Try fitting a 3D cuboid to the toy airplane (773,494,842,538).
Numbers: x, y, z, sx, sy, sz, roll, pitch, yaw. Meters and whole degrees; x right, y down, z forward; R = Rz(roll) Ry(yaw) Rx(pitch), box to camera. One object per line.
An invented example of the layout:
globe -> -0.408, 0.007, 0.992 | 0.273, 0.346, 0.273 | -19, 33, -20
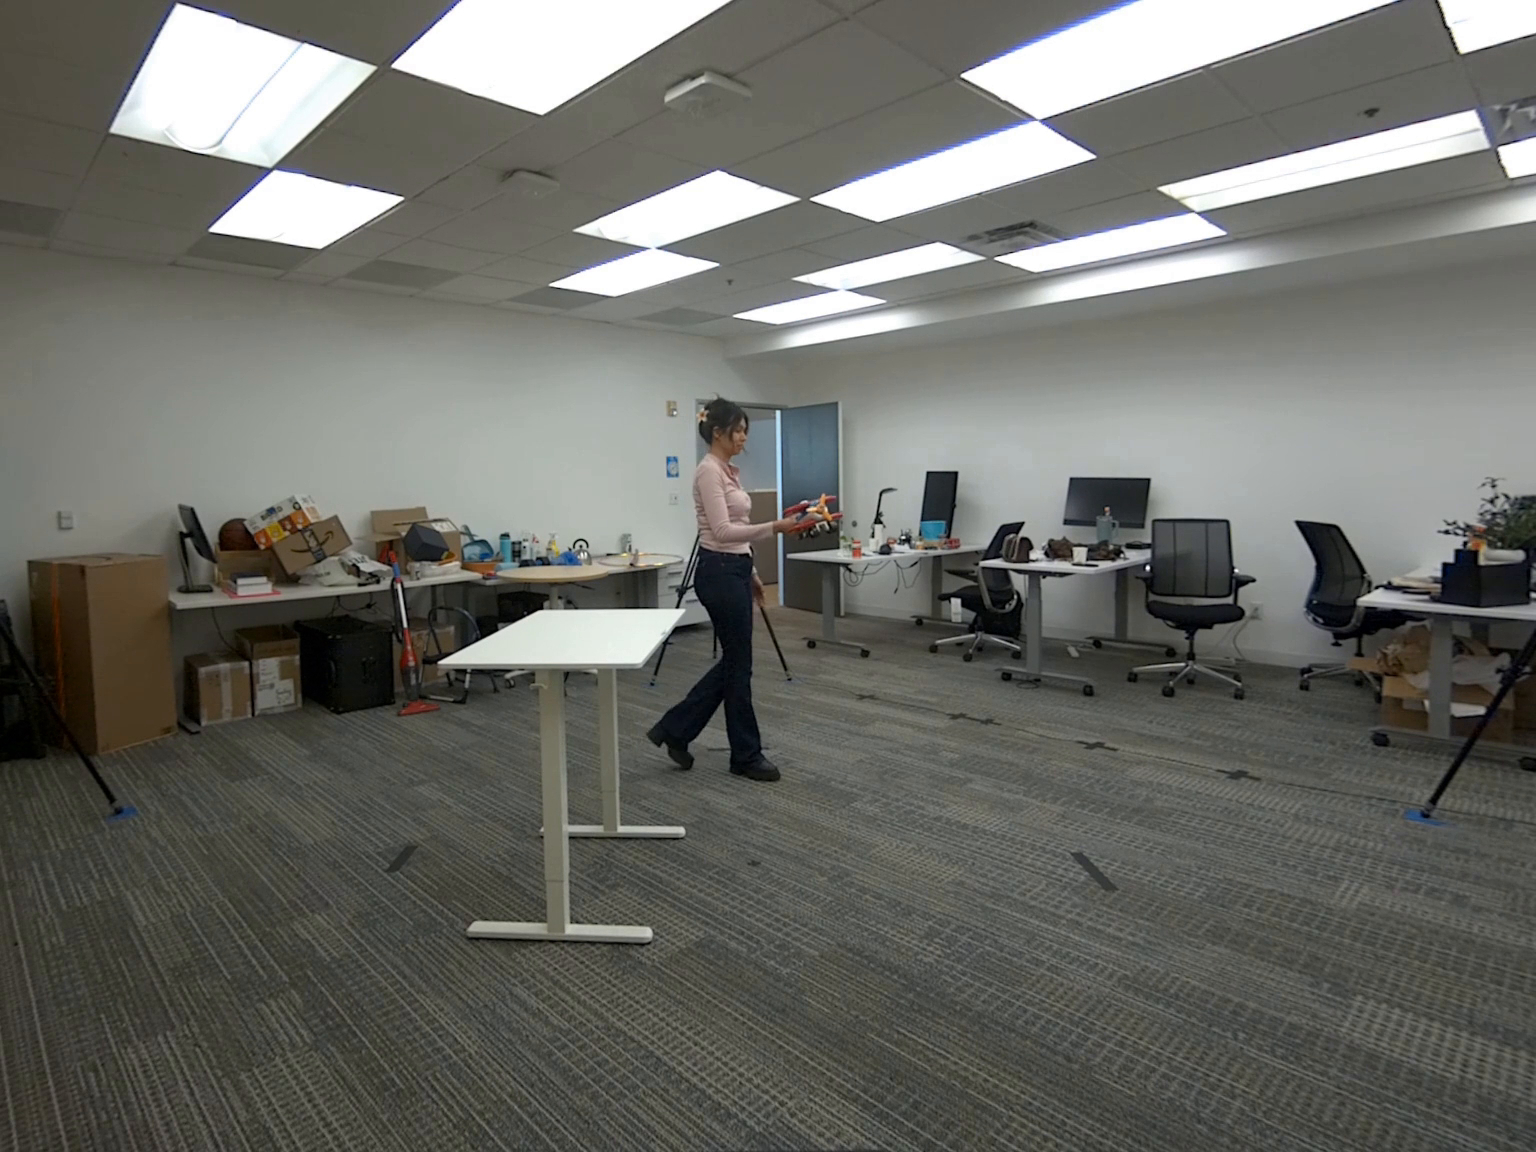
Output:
toy airplane -> 0.161, -0.234, 3.641 | 0.265, 0.156, 0.246 | -12, 5, 38
